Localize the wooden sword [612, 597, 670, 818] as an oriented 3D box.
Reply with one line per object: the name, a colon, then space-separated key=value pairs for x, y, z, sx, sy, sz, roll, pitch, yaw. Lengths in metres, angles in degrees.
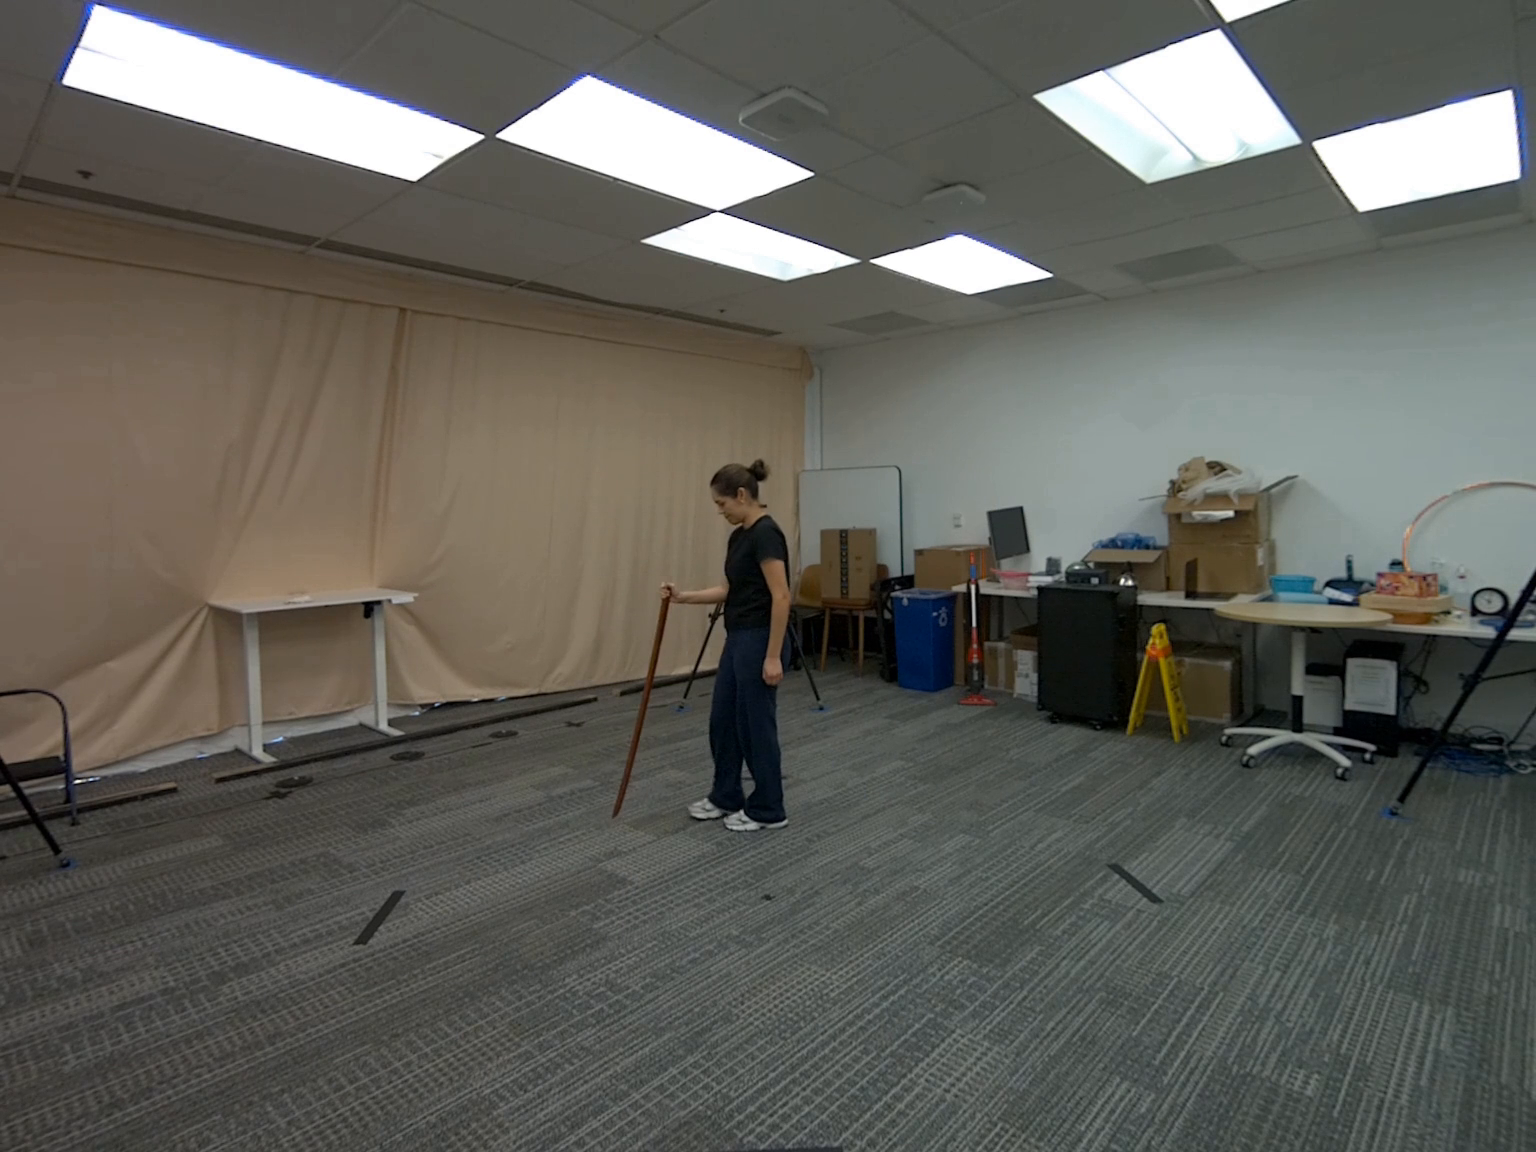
wooden sword: x=-0.510 y=0.550 z=3.638 sx=0.023 sy=1.025 sz=0.053 roll=12 pitch=-1 yaw=-29
